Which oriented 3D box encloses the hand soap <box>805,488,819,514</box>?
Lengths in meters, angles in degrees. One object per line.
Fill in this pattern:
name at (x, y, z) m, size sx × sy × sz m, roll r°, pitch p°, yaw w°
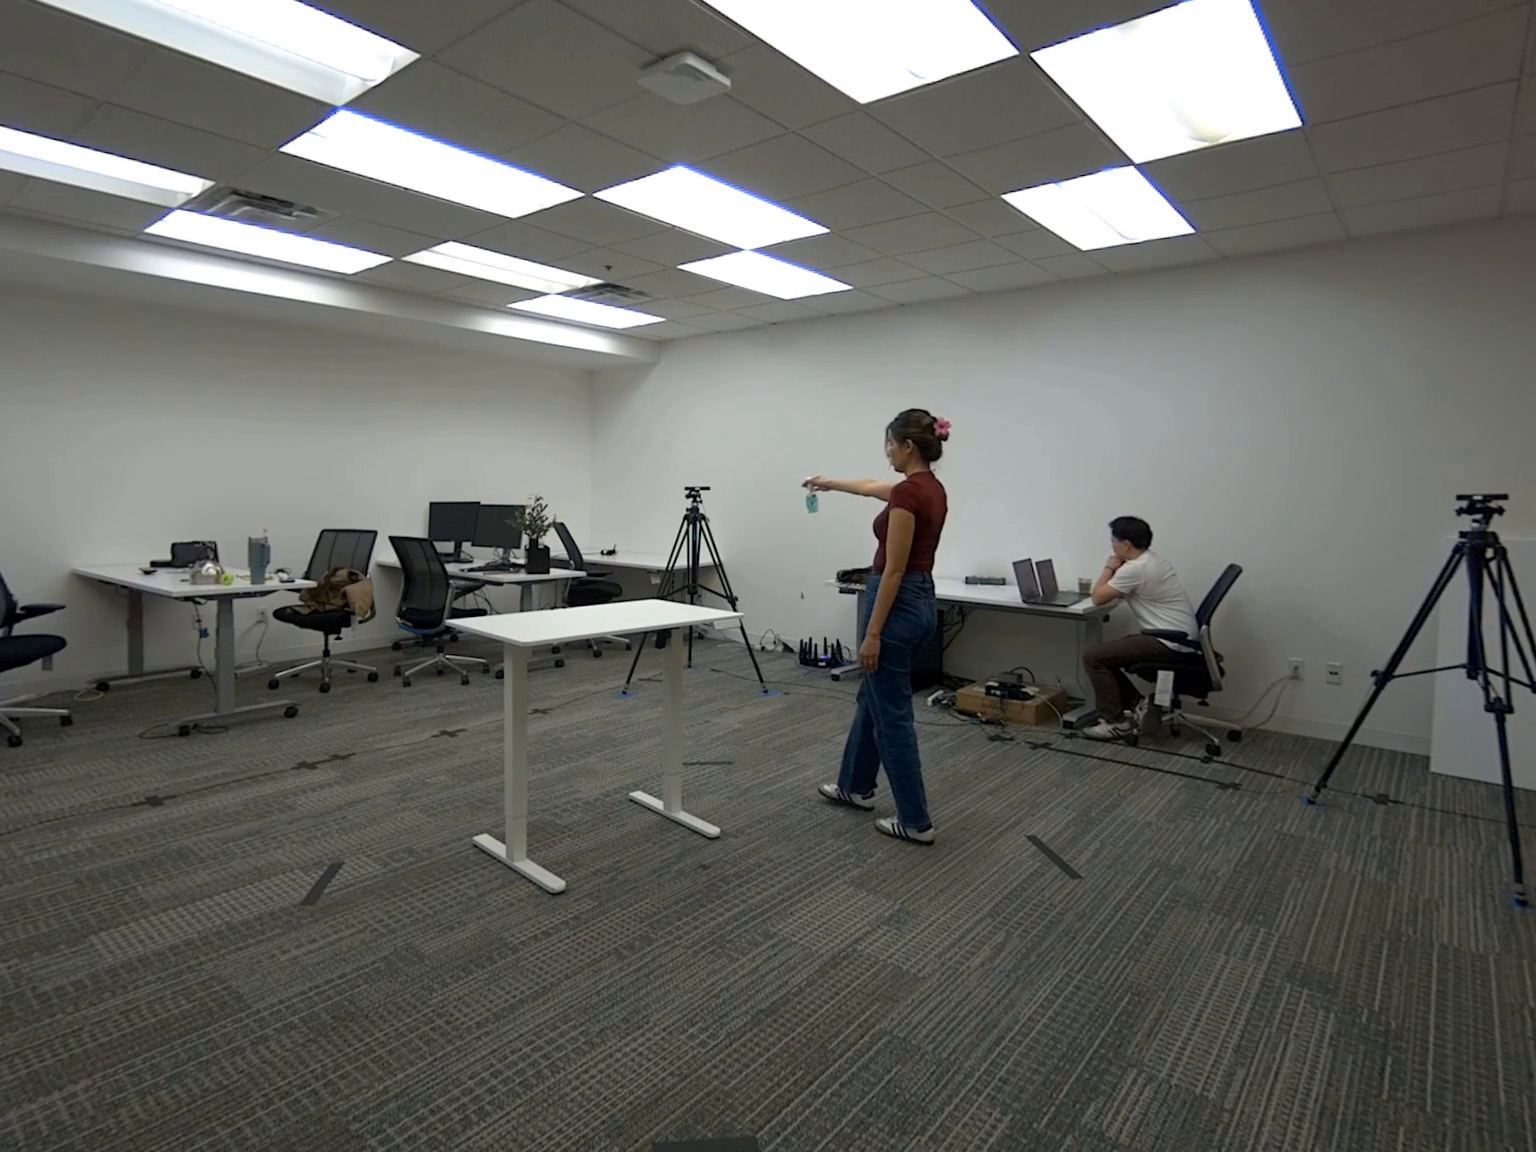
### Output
hand soap at (0.201, -0.391, 4.044) m, size 0.045 × 0.167 × 0.082 m, roll 1°, pitch 9°, yaw 36°
